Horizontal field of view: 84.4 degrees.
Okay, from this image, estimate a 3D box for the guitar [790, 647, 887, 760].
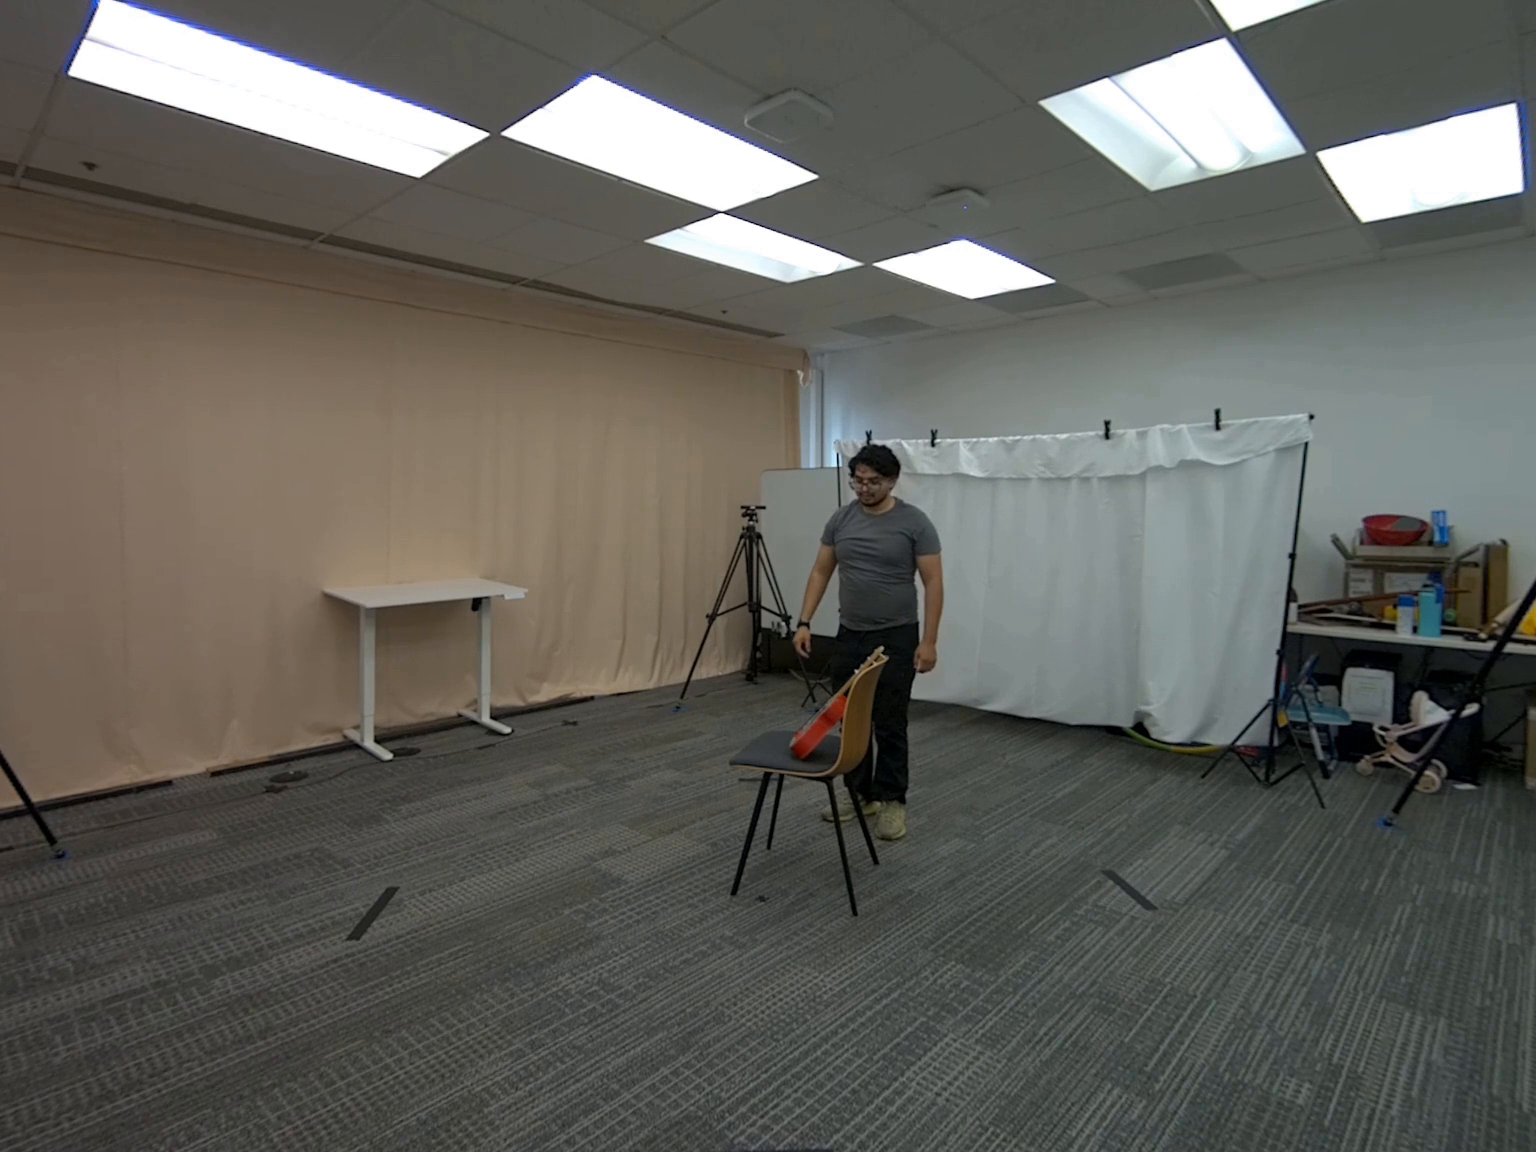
[{"bbox_3d":[0.256,0.462,3.035,0.071,0.499,0.191,43,13,3],"label":"guitar"}]
